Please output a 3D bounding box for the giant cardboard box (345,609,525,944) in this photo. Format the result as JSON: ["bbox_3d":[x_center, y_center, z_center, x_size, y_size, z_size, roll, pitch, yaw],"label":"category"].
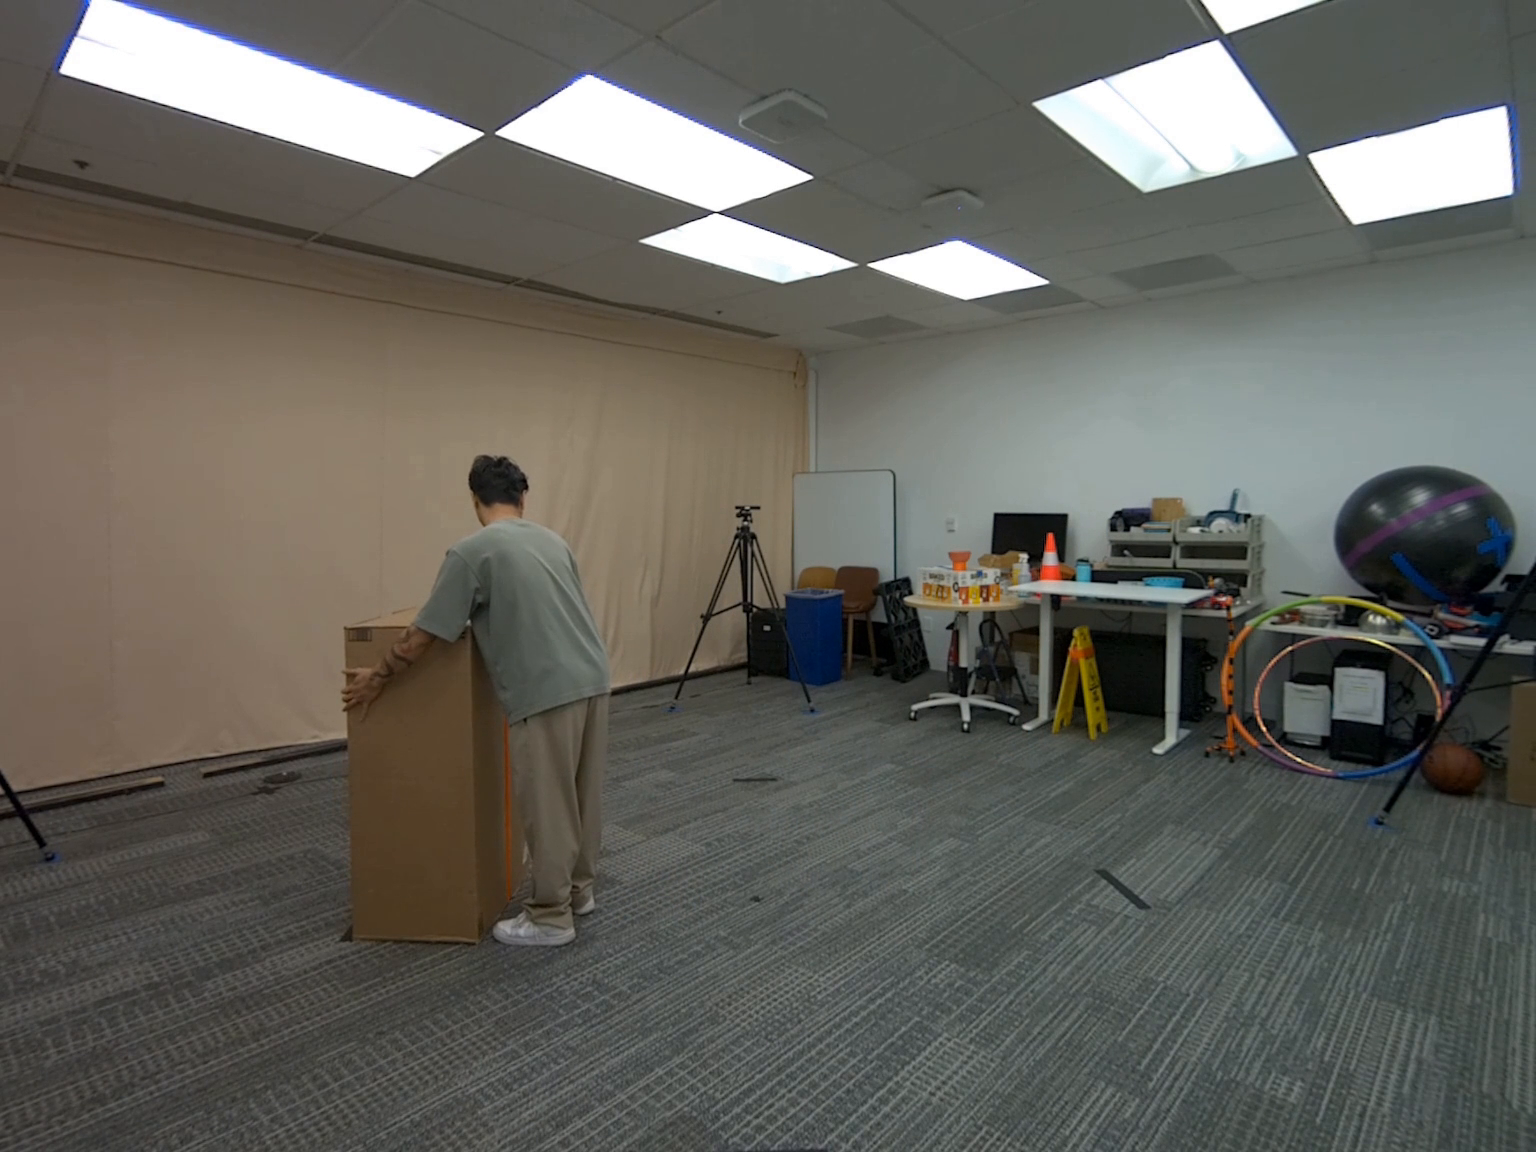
[{"bbox_3d":[-1.142,0.652,2.959,0.428,1.024,0.576,-1,2,2],"label":"giant cardboard box"}]
